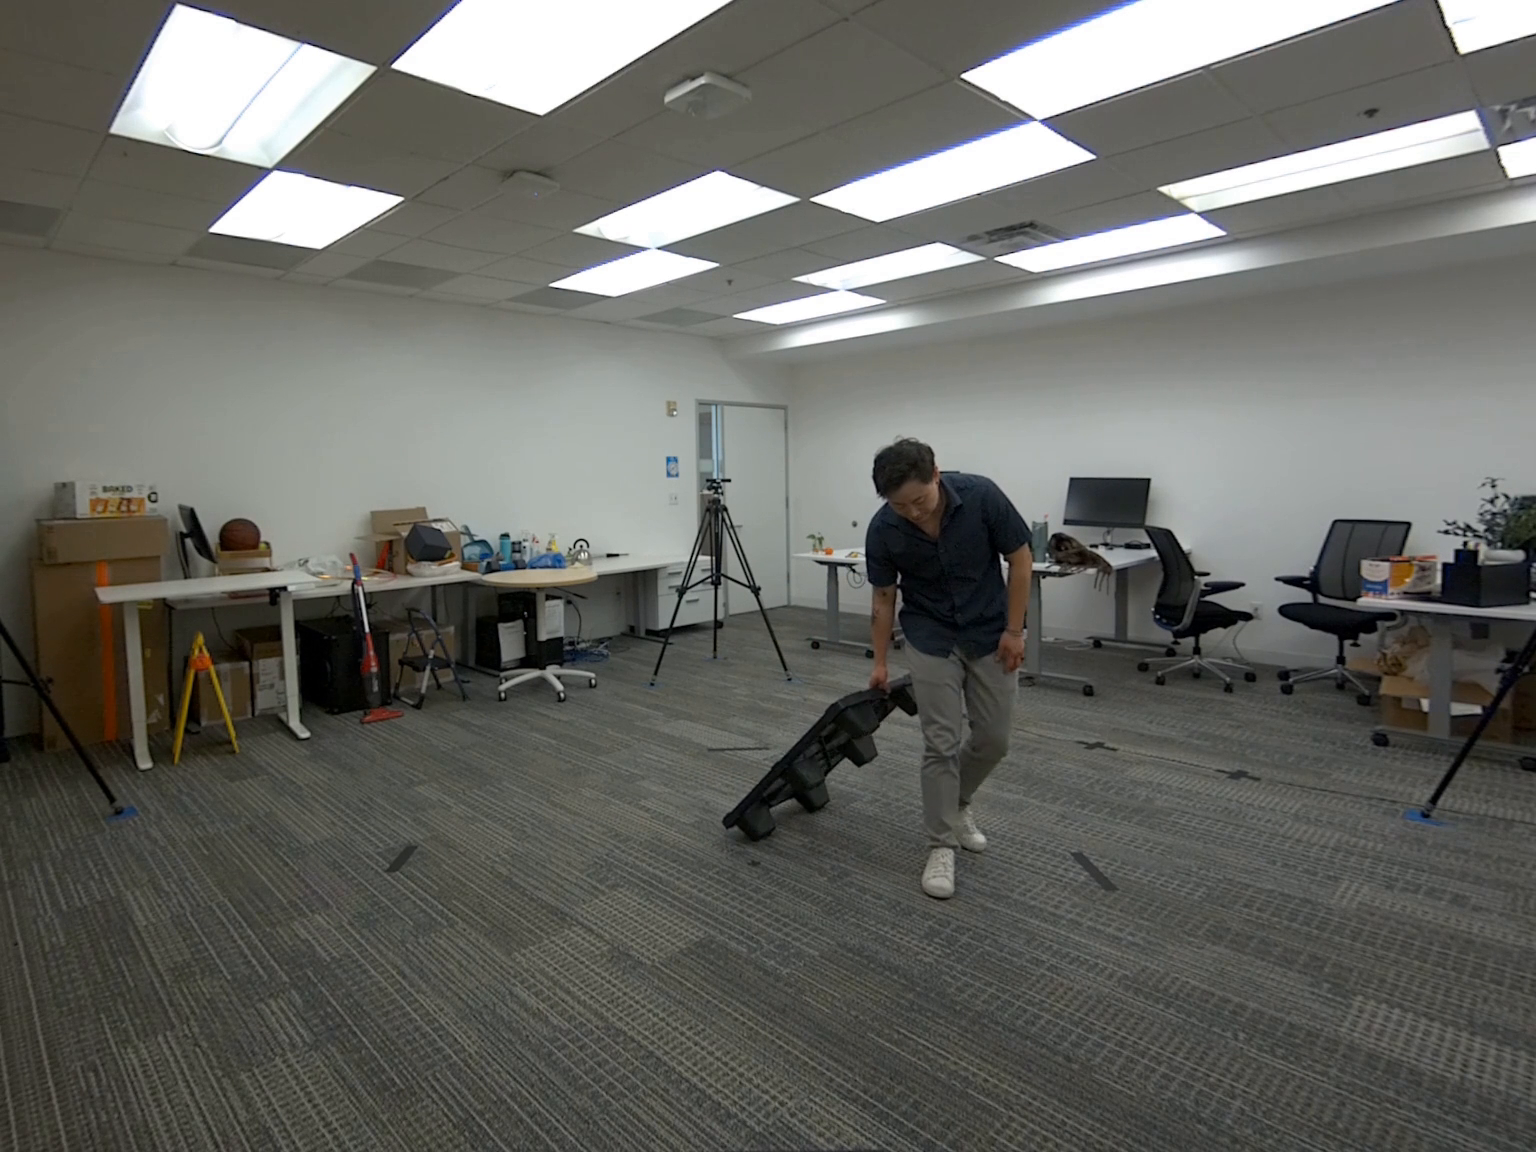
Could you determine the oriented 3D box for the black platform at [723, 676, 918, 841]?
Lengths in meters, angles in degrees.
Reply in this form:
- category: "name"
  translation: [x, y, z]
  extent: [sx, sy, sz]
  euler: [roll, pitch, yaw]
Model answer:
- category: "black platform"
  translation: [0.252, 0.711, 3.308]
  extent: [0.589, 0.148, 0.802]
  euler: [-6, -38, -50]
